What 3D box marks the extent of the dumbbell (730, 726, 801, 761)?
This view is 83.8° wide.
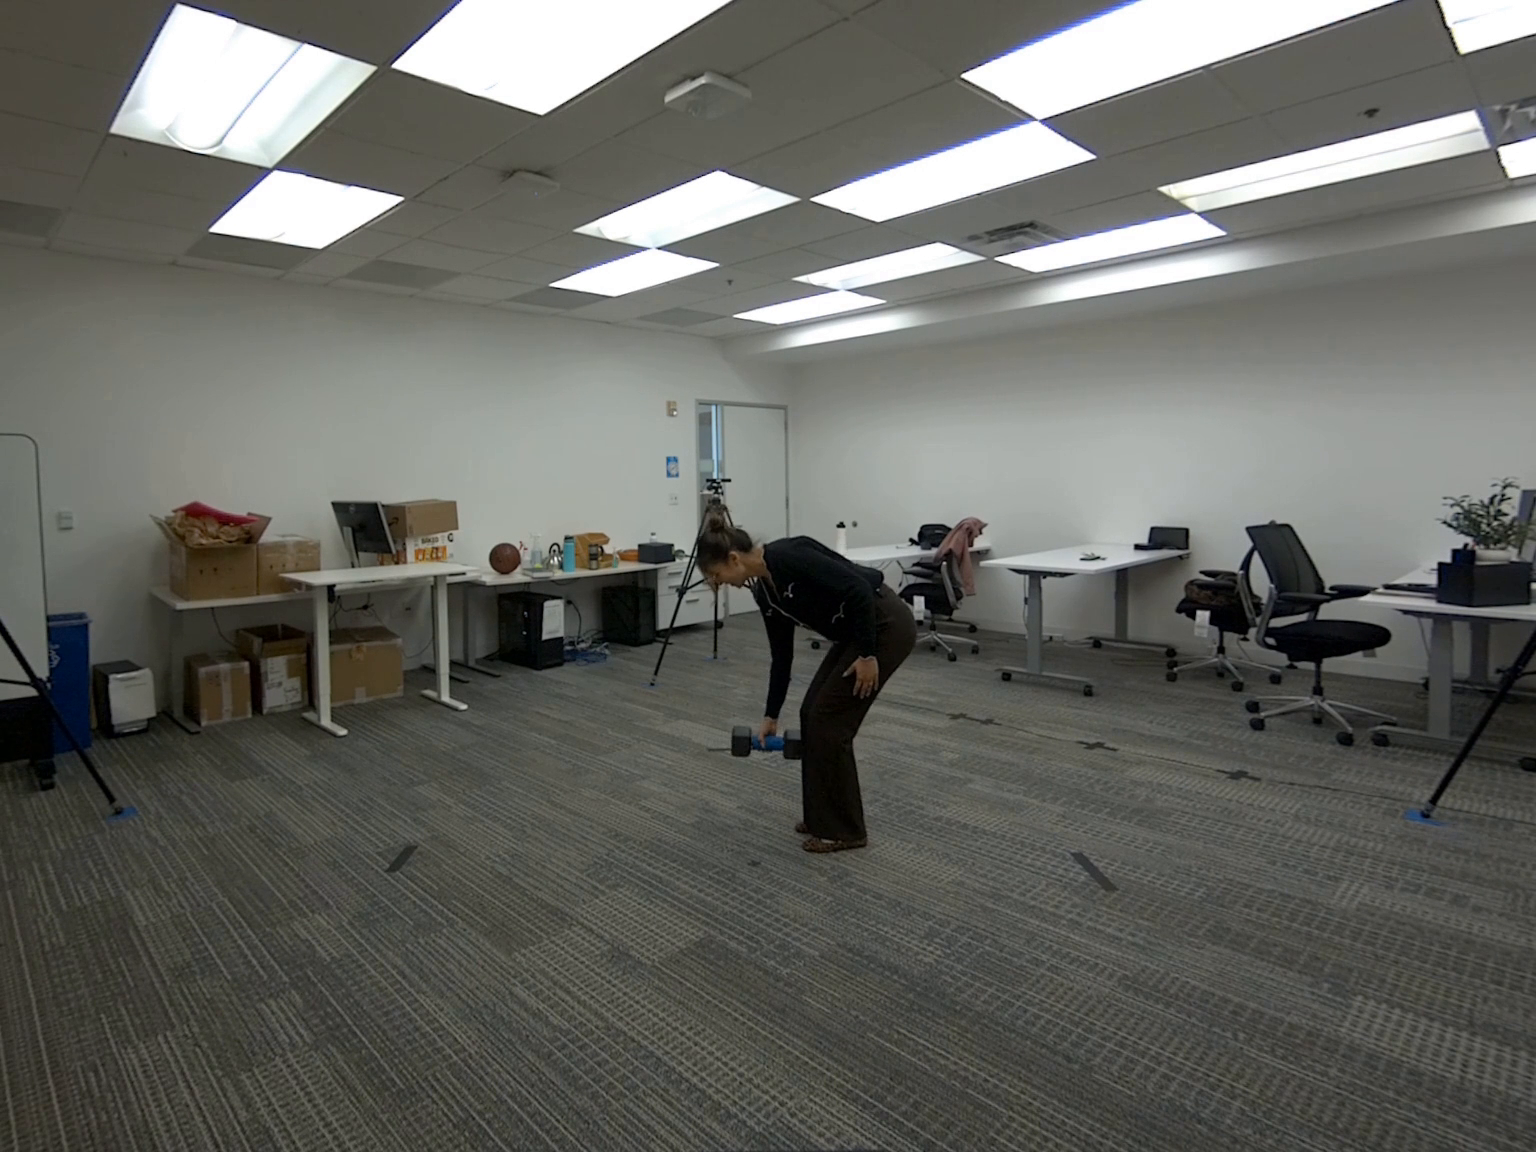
[{"bbox_3d":[0.001,0.677,3.471,0.294,0.106,0.125,3,29,0],"label":"dumbbell"}]
